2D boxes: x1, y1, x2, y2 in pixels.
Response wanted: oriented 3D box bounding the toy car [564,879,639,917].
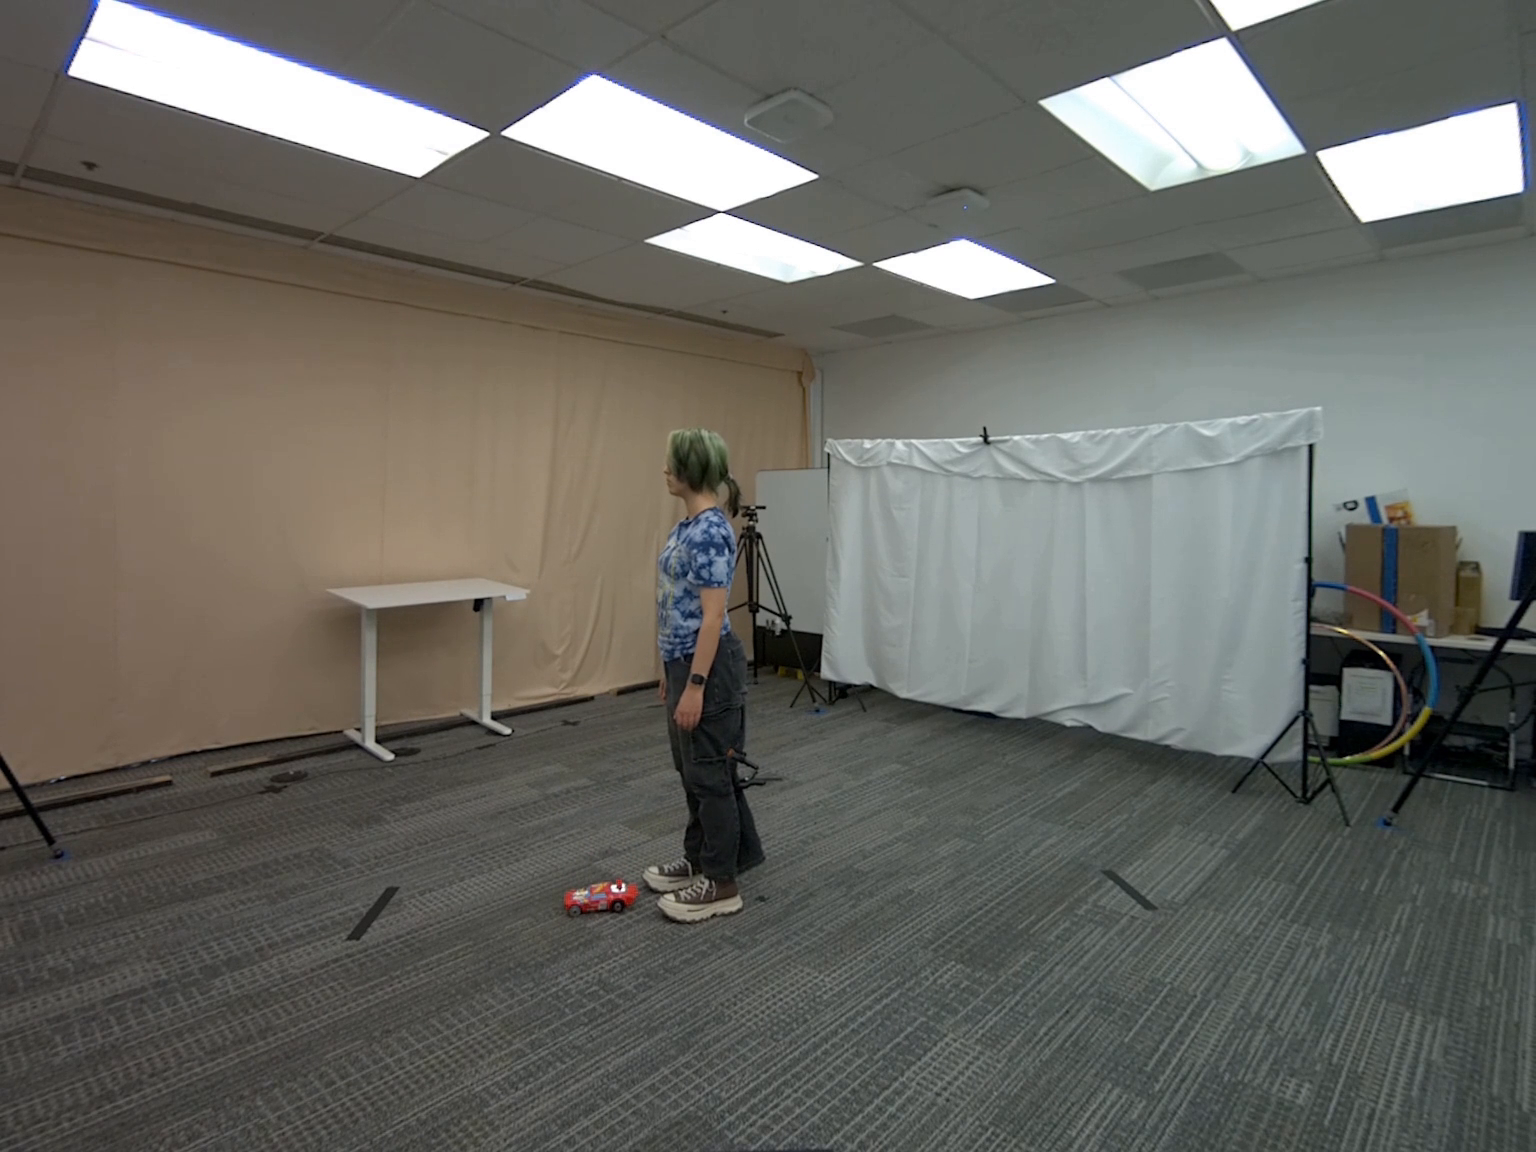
[{"bbox_3d":[-0.581,1.123,2.929,0.252,0.083,0.132,-11,5,-10],"label":"toy car"}]
